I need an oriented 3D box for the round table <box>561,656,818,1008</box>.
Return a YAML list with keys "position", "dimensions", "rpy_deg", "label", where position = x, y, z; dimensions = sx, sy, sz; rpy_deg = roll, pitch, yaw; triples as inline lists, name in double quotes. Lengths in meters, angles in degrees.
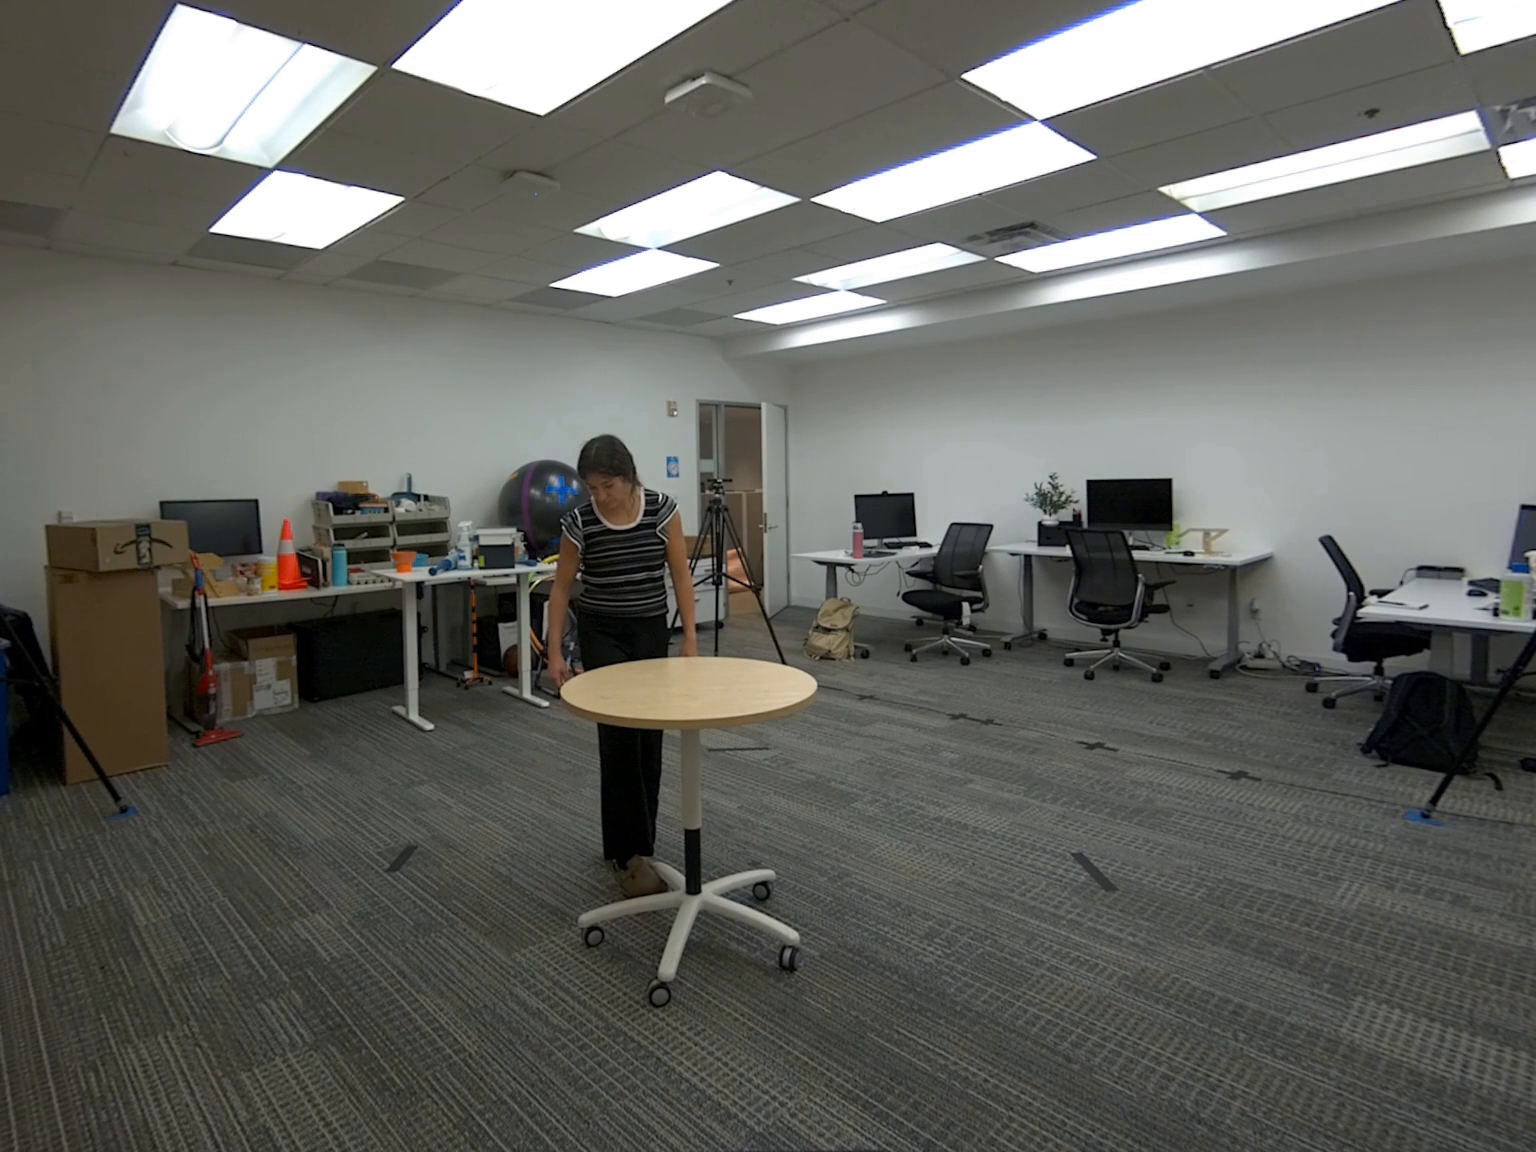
- position: [-0.232, 0.717, 2.578]
  dimensions: [0.784, 0.783, 0.789]
  rpy_deg: [-1, 5, -2]
  label: "round table"
